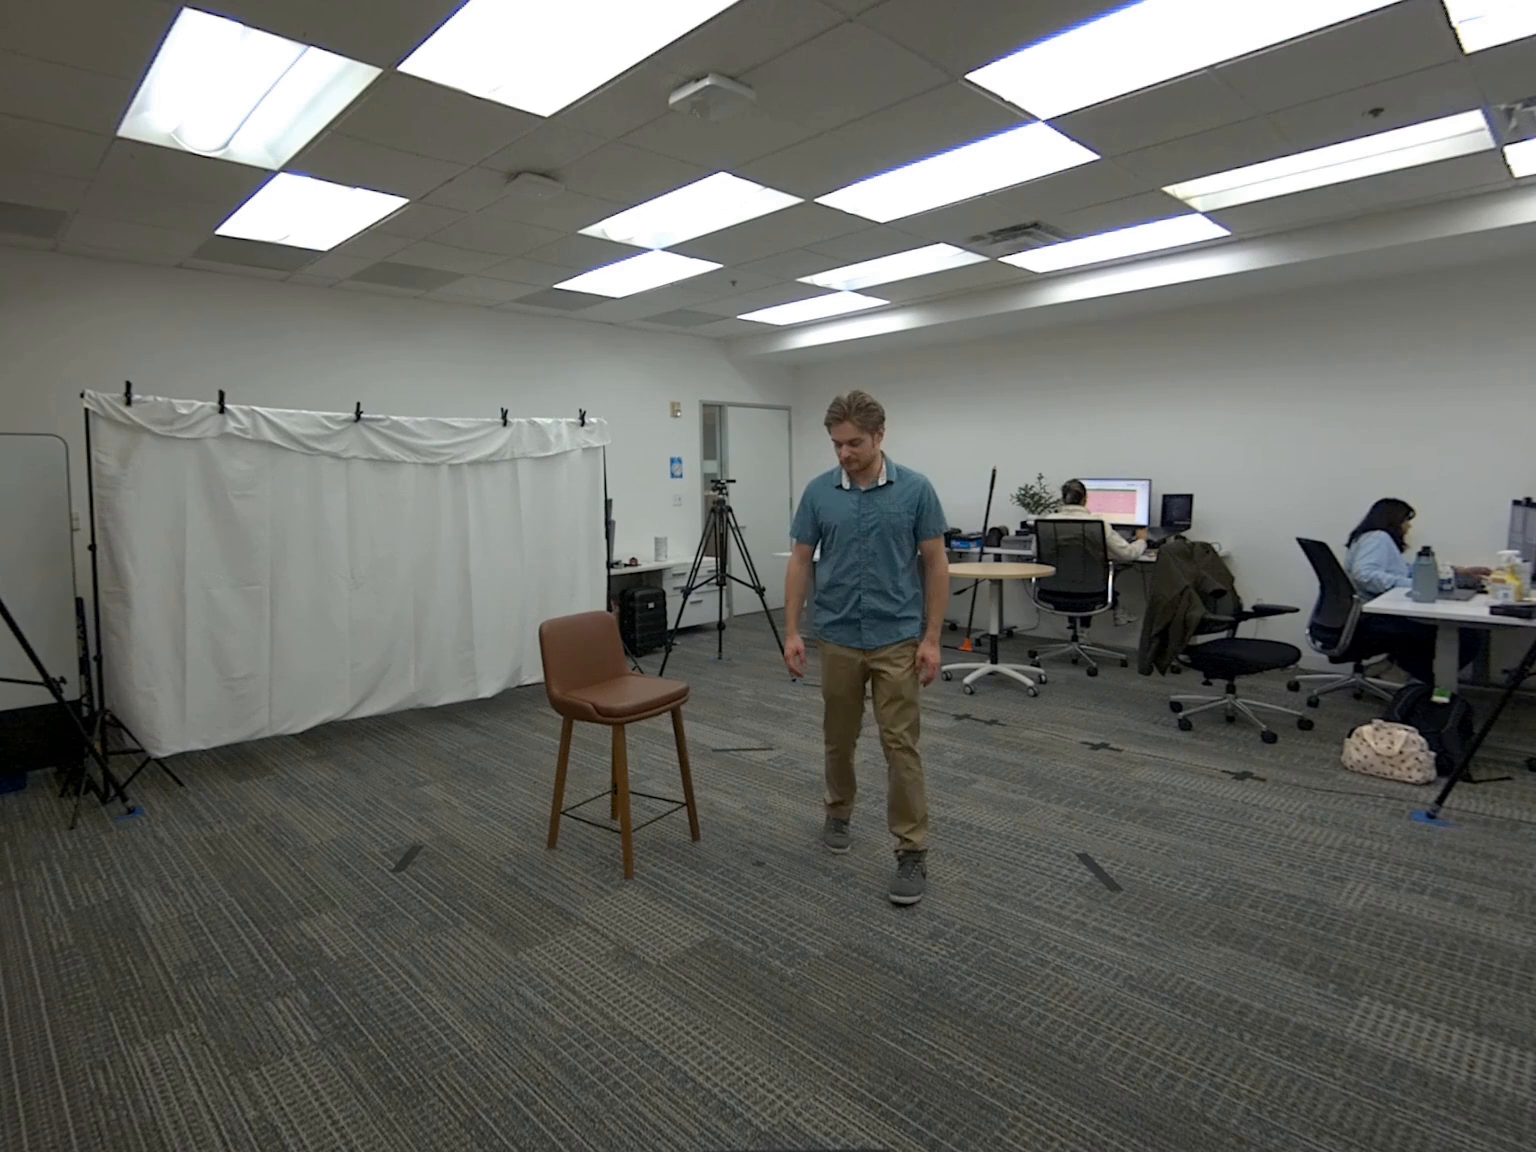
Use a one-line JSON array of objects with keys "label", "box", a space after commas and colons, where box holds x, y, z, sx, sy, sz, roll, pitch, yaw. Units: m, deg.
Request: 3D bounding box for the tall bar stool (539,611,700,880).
[{"label": "tall bar stool", "box": [-0.567, 0.603, 3.279, 0.480, 0.888, 0.445, -1, 3, 36]}]
